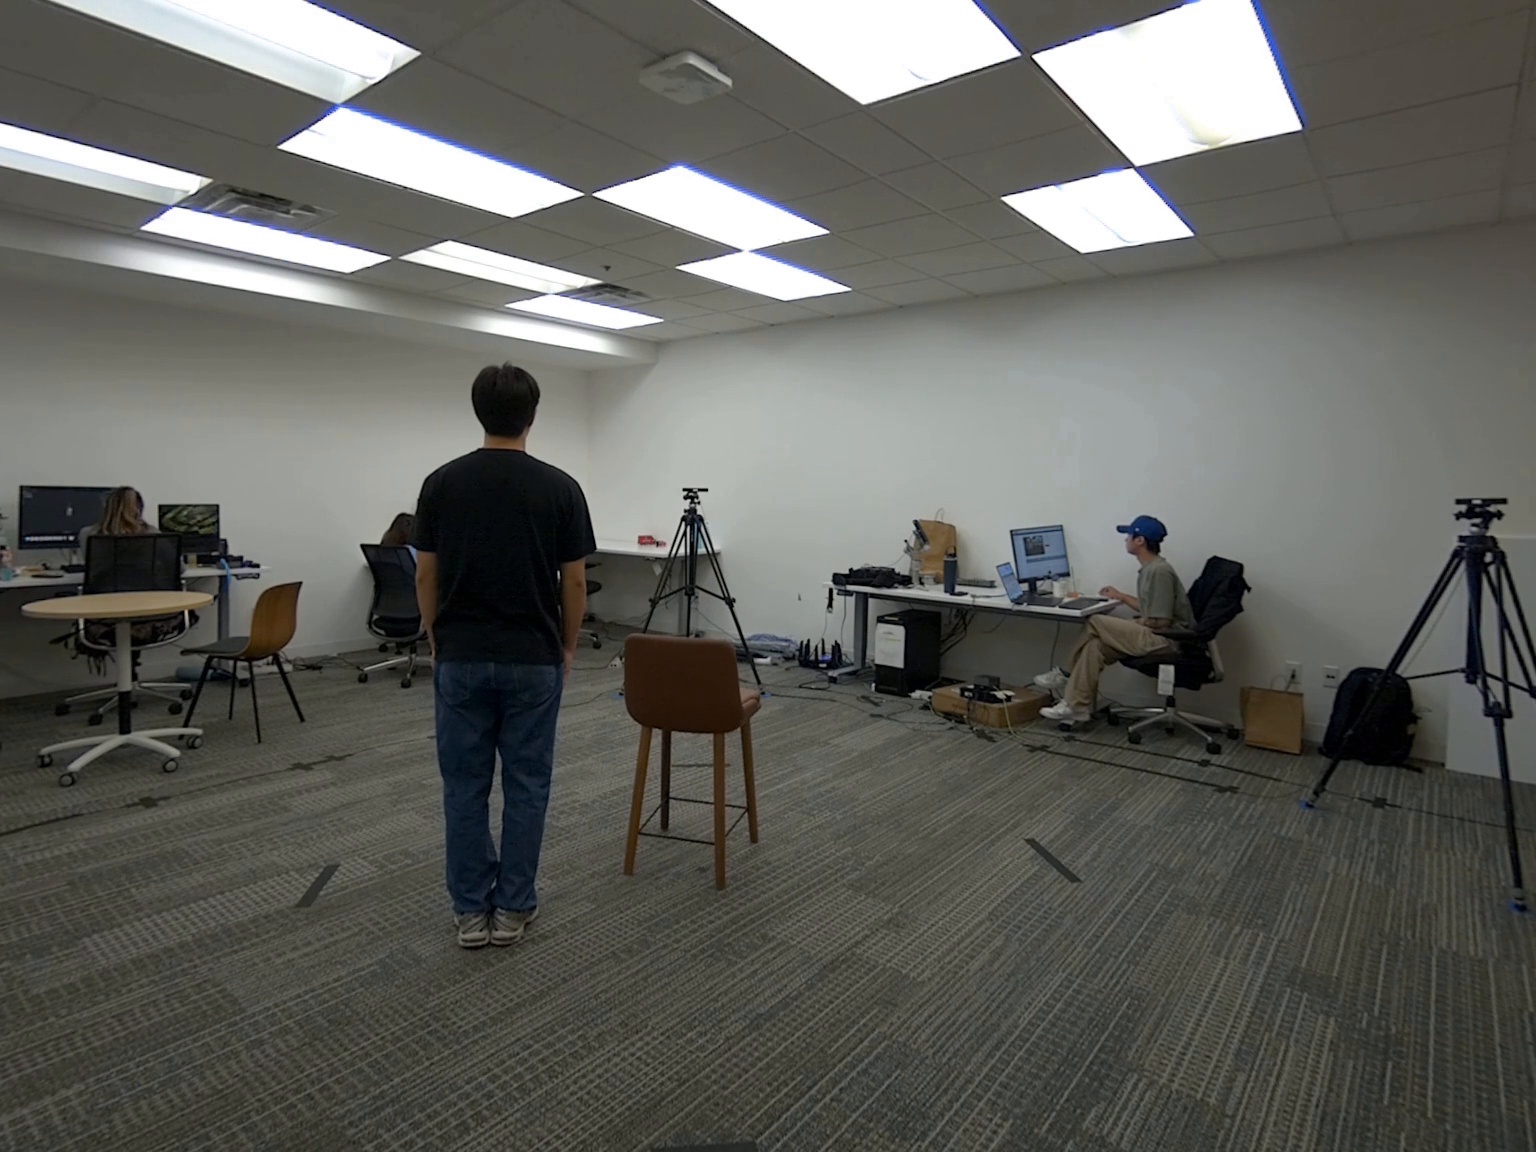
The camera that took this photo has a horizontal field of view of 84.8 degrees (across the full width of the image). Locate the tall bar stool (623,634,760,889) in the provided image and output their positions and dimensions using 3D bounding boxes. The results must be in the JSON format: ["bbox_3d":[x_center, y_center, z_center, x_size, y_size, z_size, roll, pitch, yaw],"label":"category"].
[{"bbox_3d":[-0.294,0.626,3.193,0.465,0.886,0.461,1,5,16],"label":"tall bar stool"}]
